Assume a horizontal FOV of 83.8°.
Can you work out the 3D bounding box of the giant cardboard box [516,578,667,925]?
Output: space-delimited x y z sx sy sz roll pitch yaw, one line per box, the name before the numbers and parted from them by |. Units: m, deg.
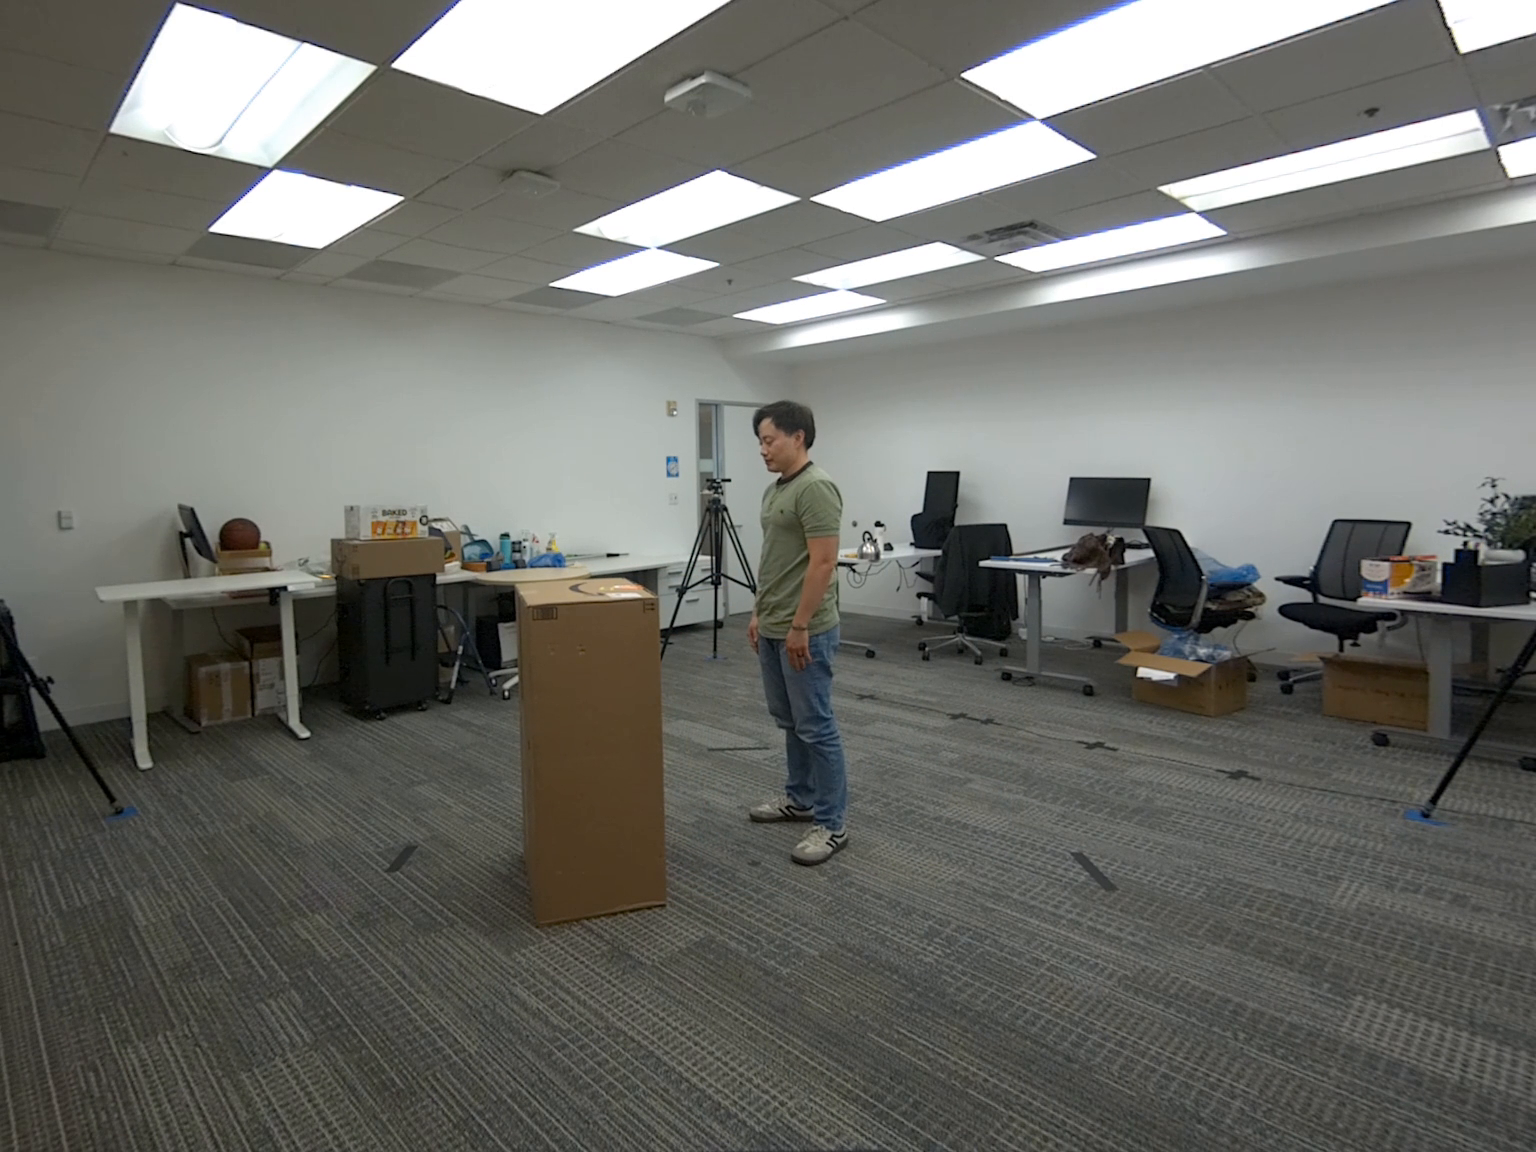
giant cardboard box | -0.632 0.558 2.984 0.419 1.022 0.590 -2 4 -20
